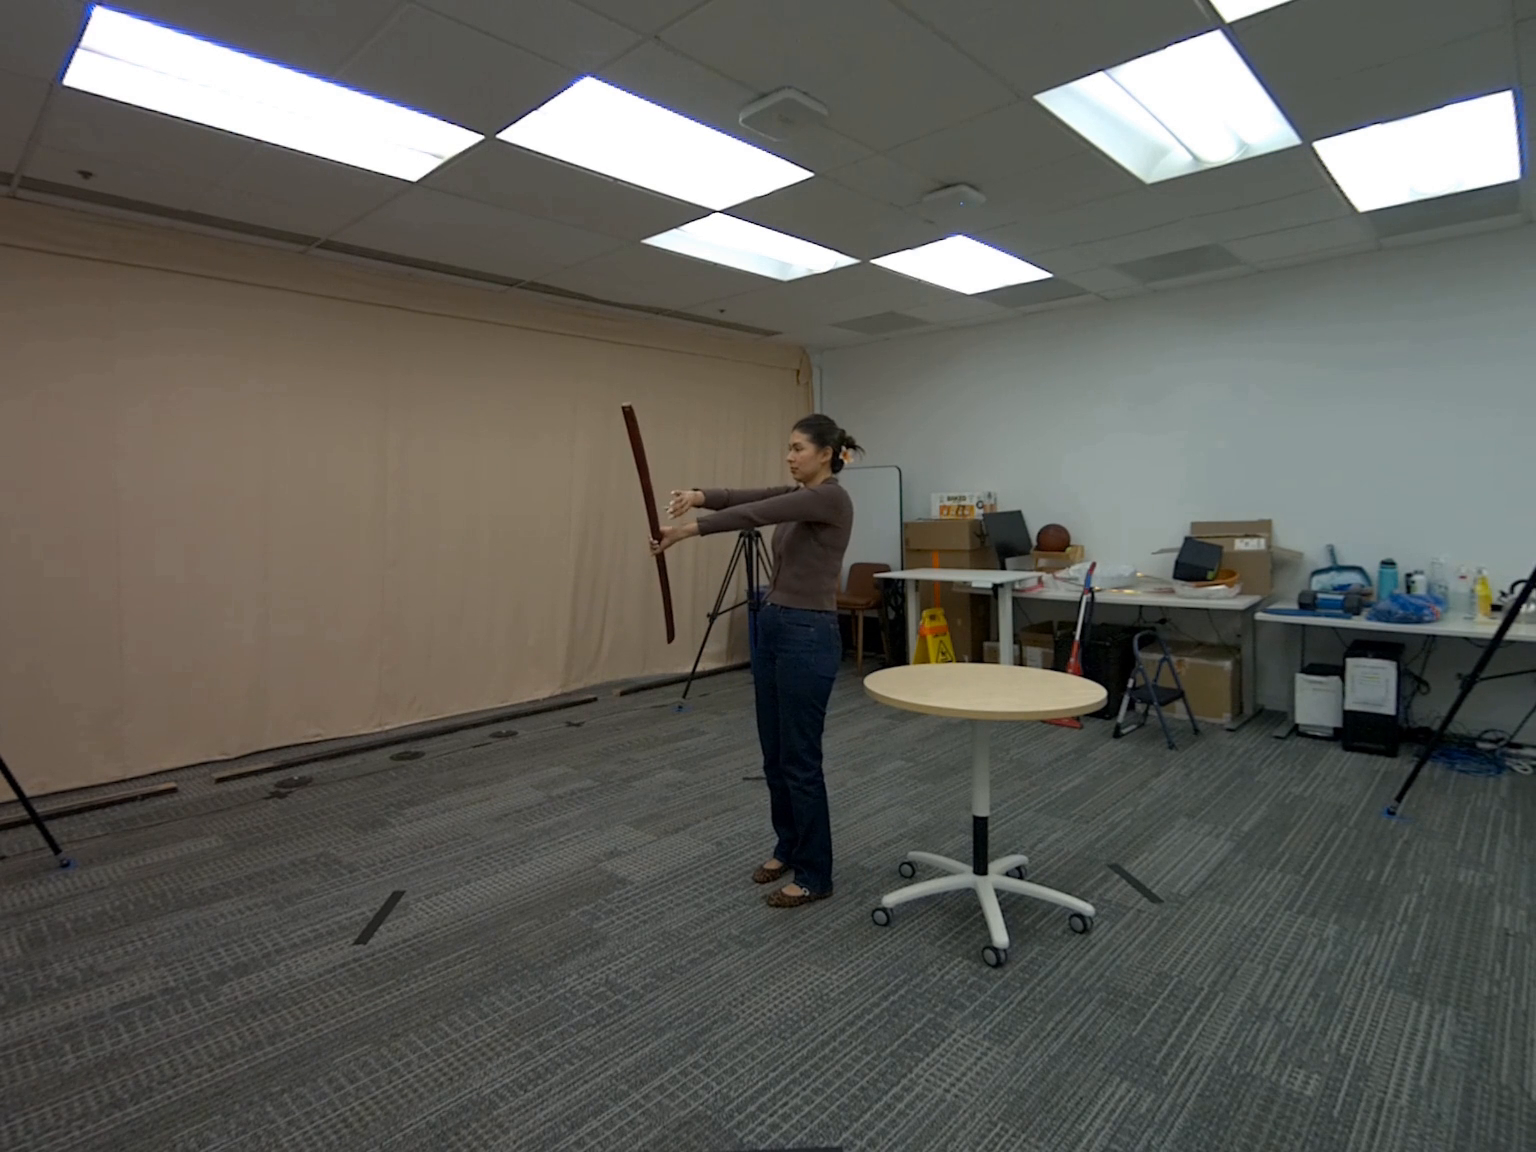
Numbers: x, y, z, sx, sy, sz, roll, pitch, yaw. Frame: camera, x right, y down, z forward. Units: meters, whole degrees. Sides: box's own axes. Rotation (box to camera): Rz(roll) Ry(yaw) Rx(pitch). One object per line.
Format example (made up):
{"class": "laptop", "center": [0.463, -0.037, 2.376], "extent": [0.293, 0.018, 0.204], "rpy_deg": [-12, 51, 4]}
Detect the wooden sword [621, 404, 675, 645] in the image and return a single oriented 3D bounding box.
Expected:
{"class": "wooden sword", "center": [-0.382, -0.134, 2.836], "extent": [0.024, 1.001, 0.053], "rpy_deg": [-22, 41, -17]}
